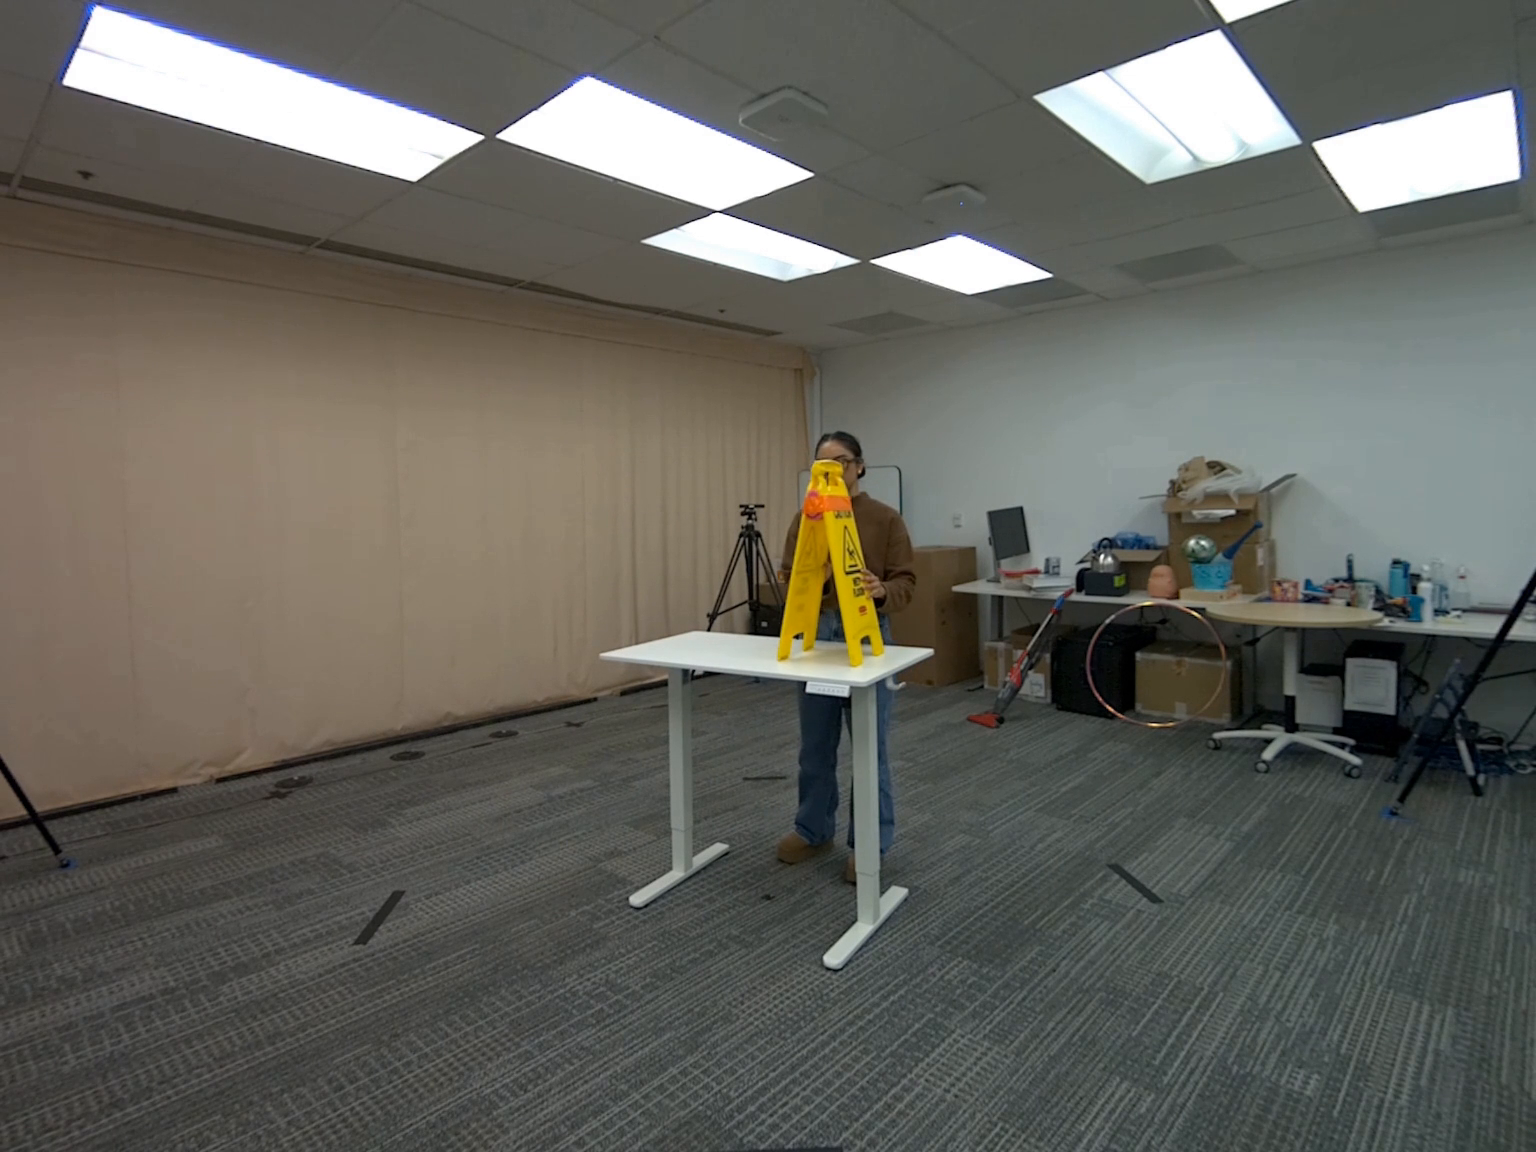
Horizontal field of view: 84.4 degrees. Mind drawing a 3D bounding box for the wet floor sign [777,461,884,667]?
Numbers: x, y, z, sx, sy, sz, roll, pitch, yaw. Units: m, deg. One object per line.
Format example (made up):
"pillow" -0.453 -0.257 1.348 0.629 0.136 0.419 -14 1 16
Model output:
"wet floor sign" 0.202 -0.052 2.780 0.298 0.644 0.275 1 5 28
